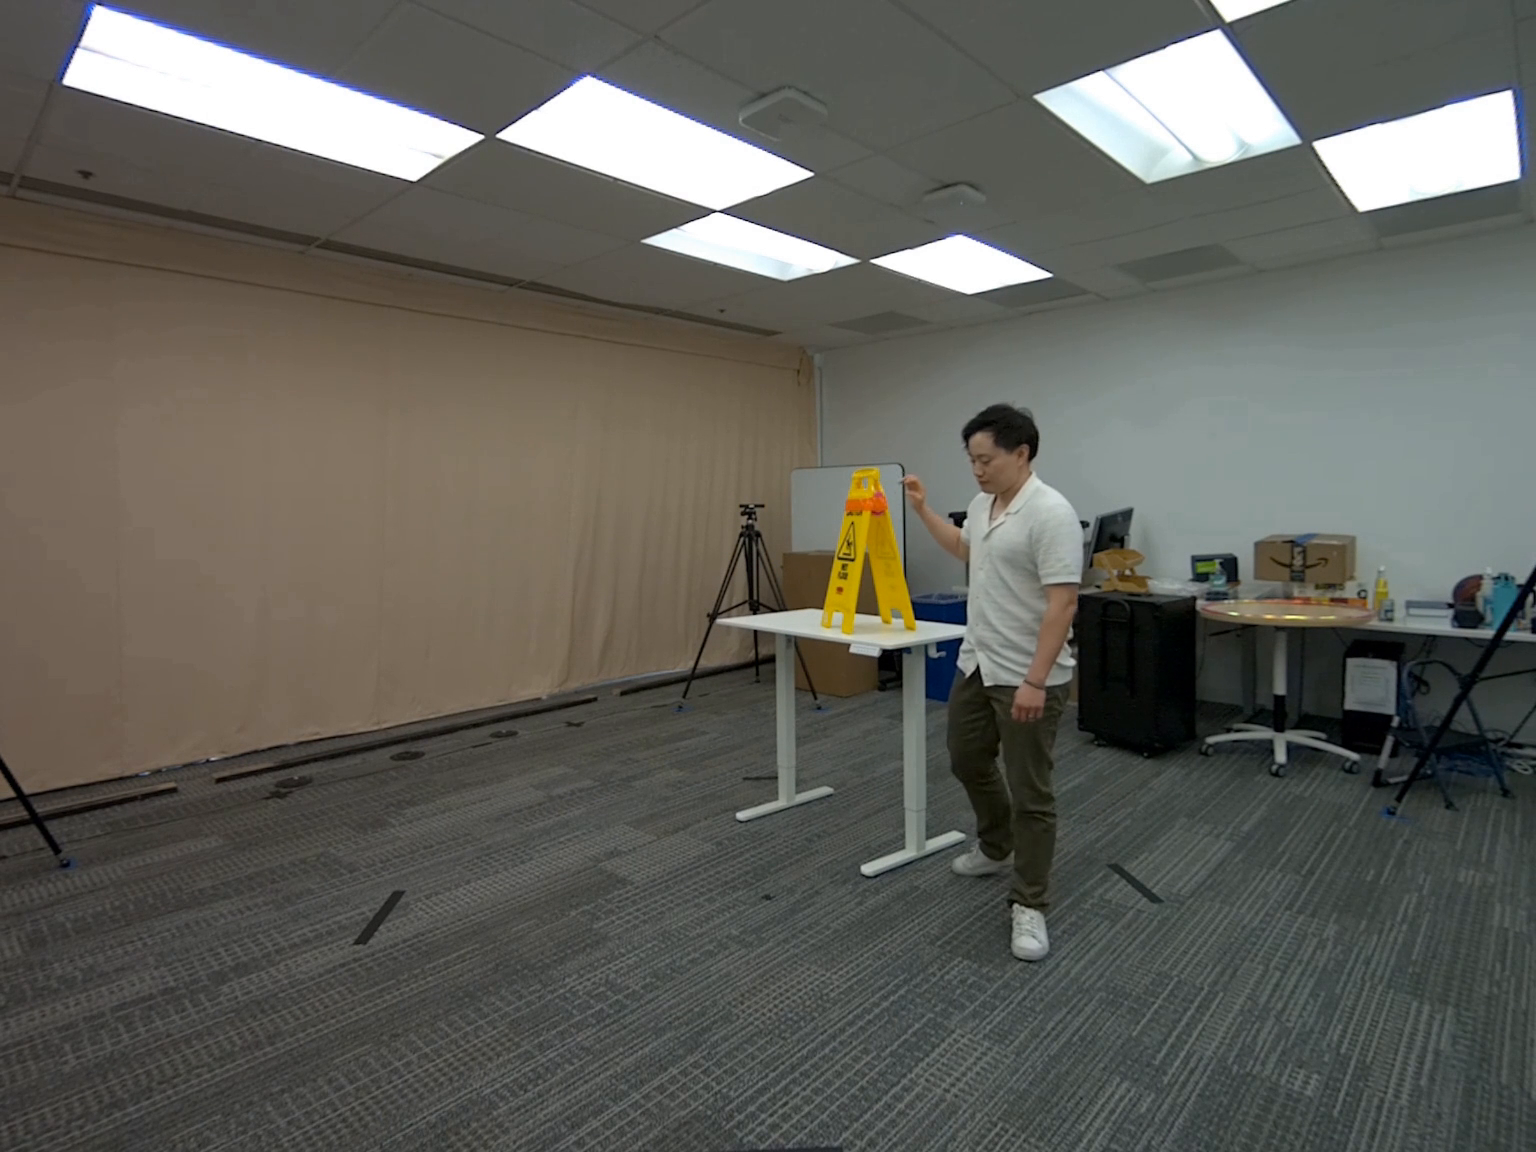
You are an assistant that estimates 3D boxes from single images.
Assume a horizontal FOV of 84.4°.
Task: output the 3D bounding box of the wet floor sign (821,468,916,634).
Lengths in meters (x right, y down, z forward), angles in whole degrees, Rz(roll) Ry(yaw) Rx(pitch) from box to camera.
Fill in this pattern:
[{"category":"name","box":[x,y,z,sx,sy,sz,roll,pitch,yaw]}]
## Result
[{"category":"wet floor sign","box":[0.400,-0.108,3.409,0.285,0.645,0.287,-2,2,-17]}]
